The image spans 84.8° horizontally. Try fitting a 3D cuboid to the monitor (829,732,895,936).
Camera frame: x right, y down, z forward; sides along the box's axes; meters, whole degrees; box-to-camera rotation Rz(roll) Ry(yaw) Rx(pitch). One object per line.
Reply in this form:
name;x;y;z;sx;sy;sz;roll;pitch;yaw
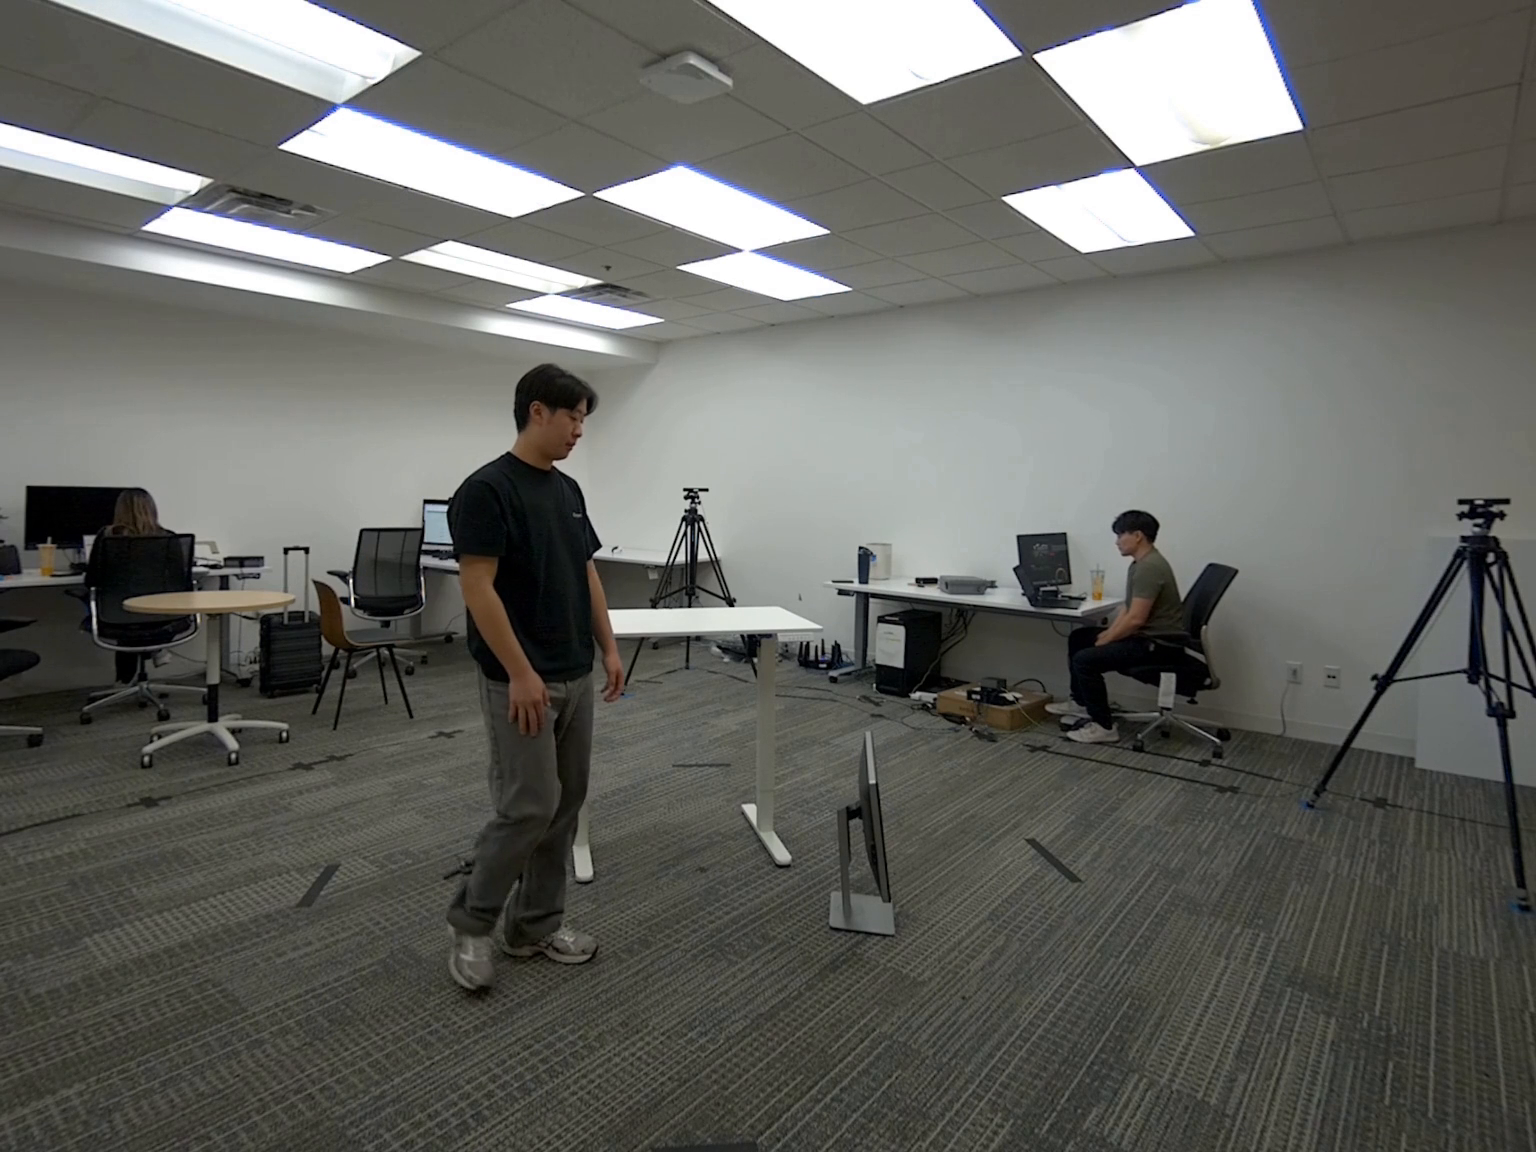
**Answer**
monitor;0.317;0.855;2.787;0.224;0.564;0.558;6;4;8
